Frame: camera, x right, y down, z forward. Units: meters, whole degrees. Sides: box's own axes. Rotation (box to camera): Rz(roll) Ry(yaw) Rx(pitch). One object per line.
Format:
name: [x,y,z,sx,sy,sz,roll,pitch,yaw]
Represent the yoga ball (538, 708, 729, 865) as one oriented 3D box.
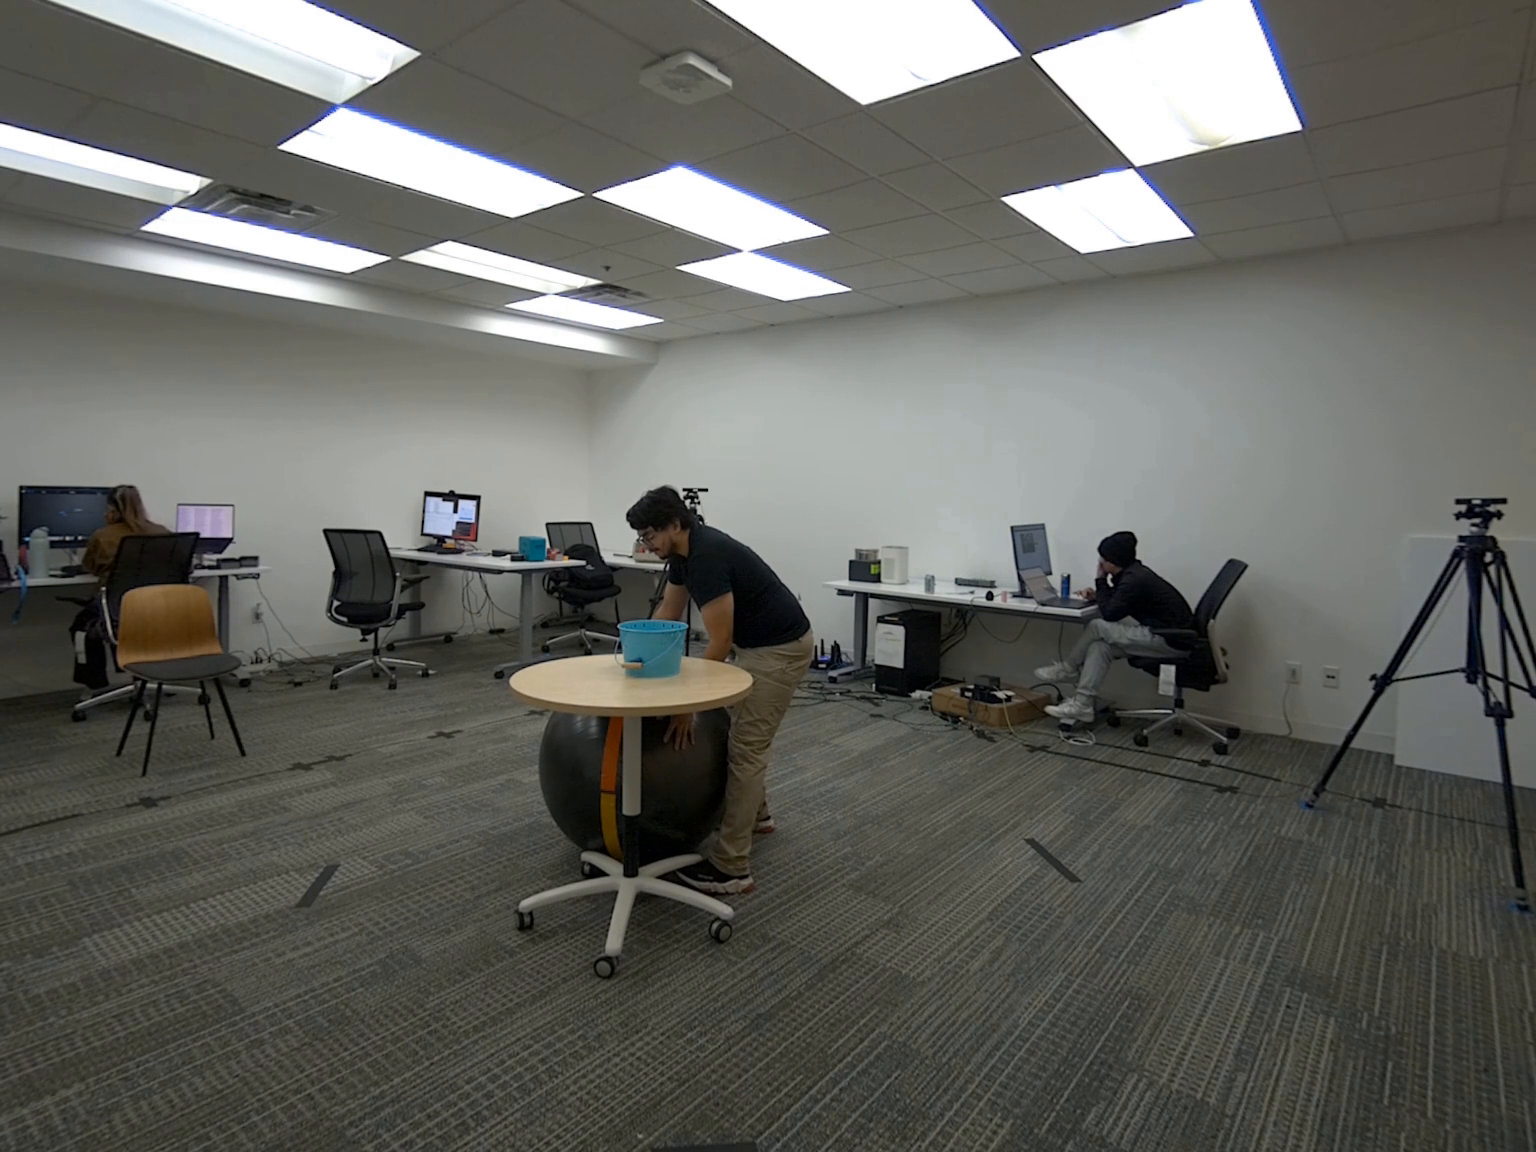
yoga ball: [-0.511,0.711,3.264,0.757,0.755,0.762,1,4,-2]
